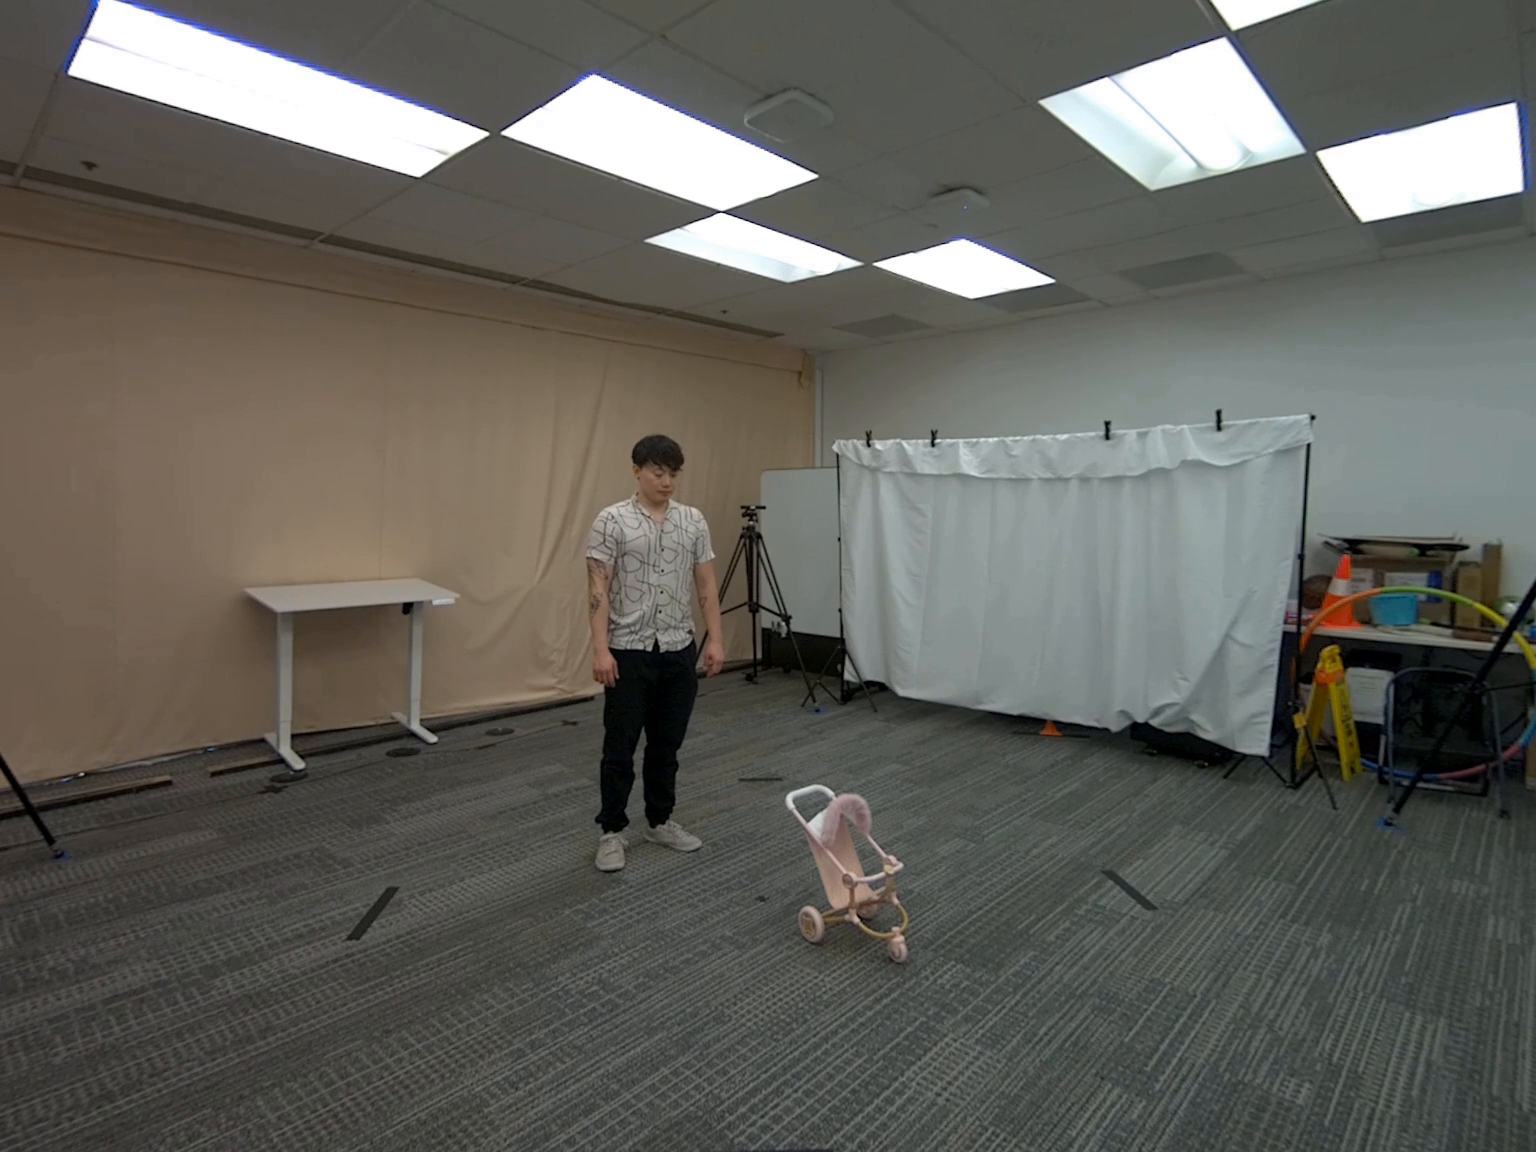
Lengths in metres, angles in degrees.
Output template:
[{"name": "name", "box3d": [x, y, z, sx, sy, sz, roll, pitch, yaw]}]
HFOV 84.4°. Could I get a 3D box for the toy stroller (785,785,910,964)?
[{"name": "toy stroller", "box3d": [0.276, 0.941, 2.708, 0.273, 0.540, 0.348, -2, -13, -36]}]
